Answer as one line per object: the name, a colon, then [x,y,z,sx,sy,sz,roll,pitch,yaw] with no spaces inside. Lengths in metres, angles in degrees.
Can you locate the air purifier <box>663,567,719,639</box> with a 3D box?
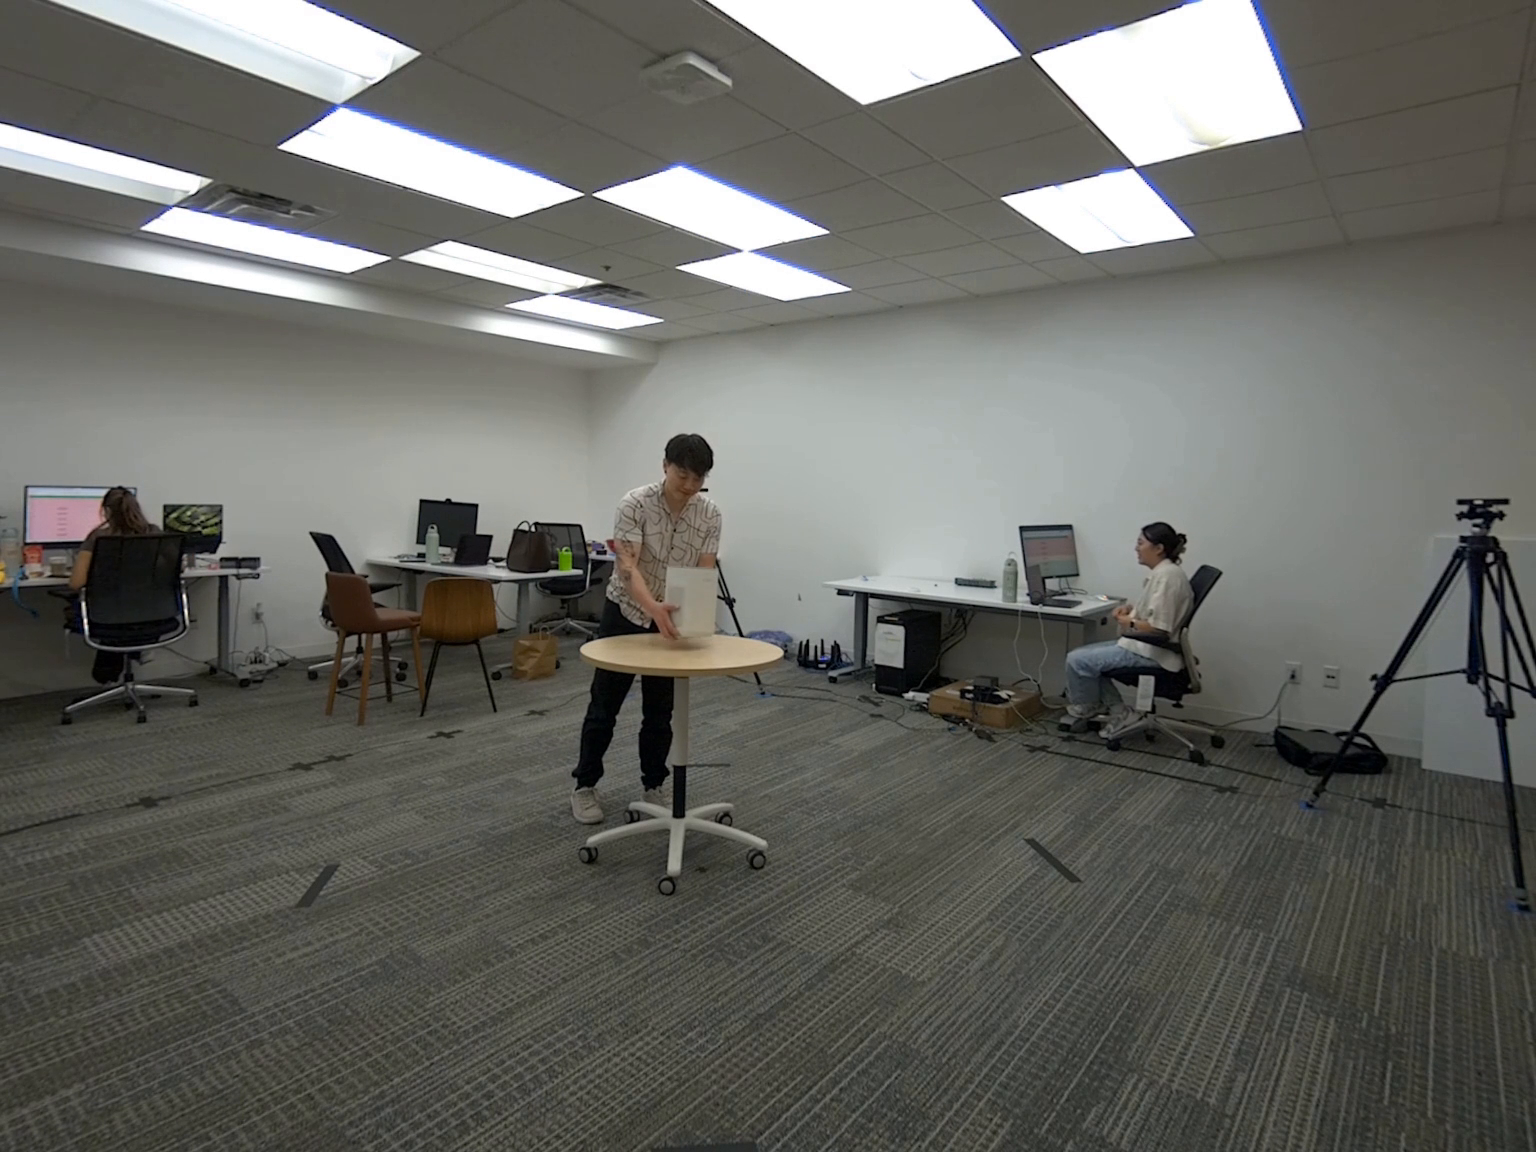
air purifier: [-0.307,0.090,3.267,0.177,0.266,0.165,2,-2,39]
